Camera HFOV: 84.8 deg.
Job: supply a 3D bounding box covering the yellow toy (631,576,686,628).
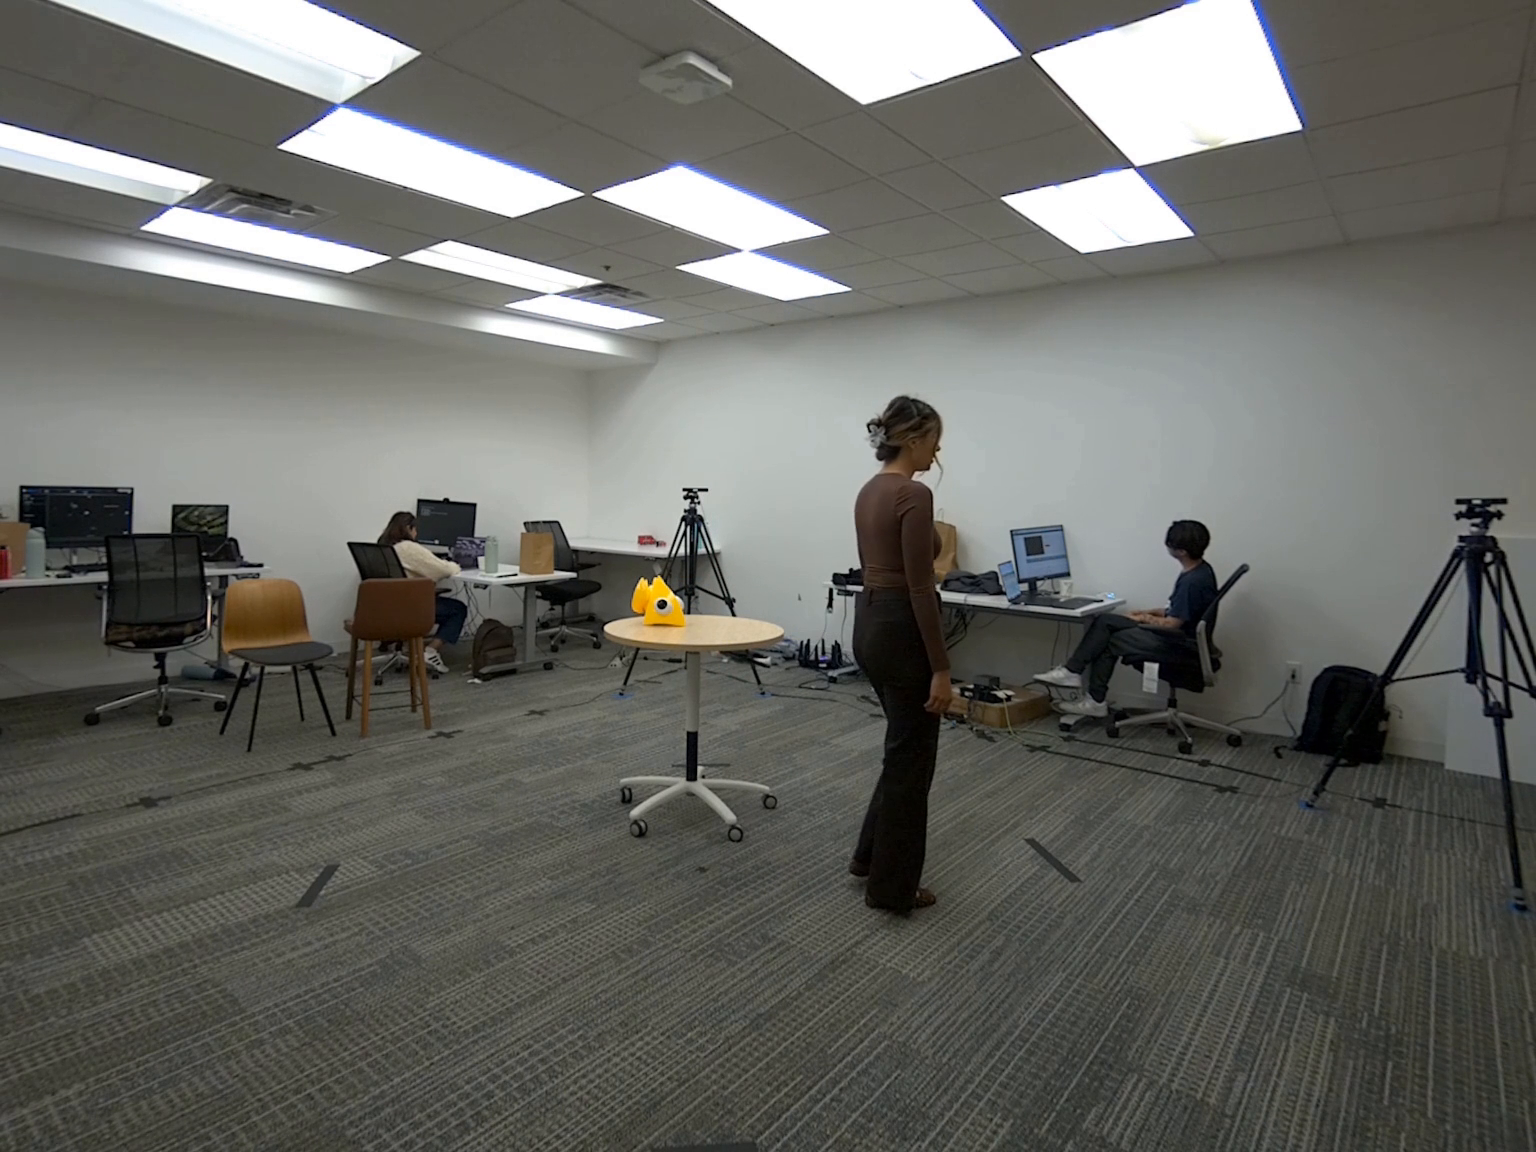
[{"bbox_3d":[-0.452,0.122,3.717,0.238,0.191,0.200,19,13,27],"label":"yellow toy"}]
